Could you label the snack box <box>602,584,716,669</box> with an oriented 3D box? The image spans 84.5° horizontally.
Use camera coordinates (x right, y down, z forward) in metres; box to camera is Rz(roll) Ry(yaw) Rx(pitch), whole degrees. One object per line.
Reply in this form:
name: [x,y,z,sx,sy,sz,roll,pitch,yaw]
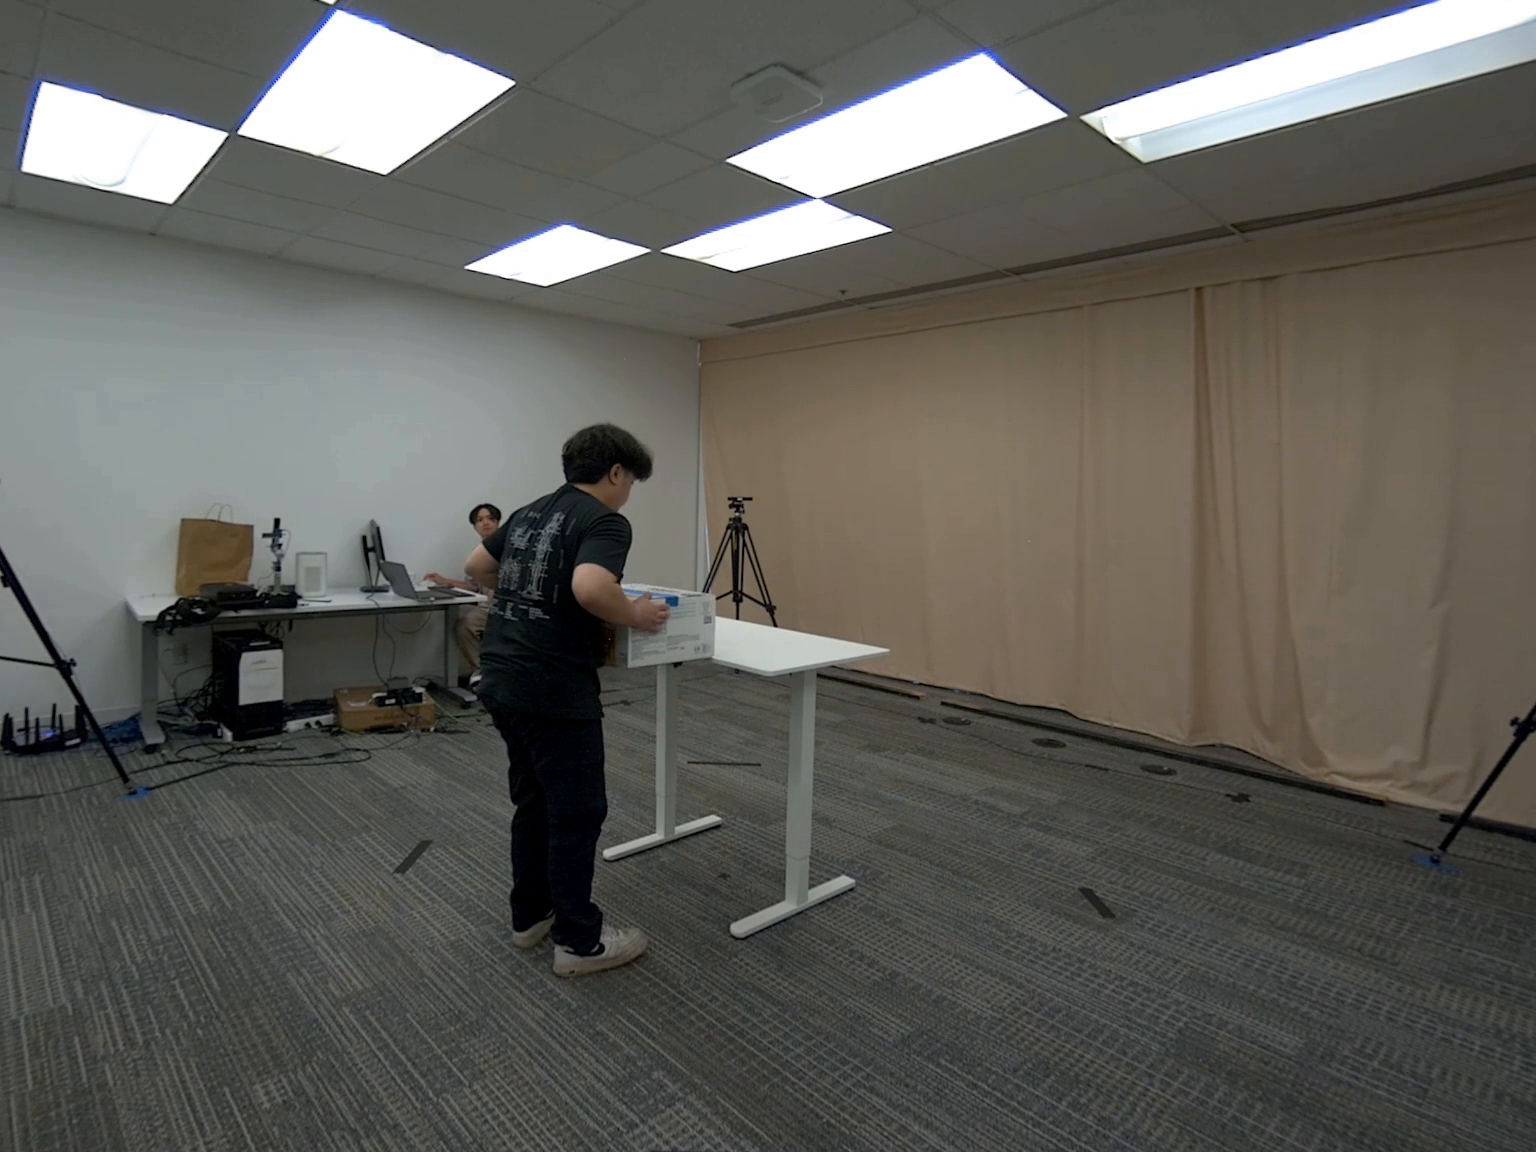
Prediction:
snack box: [-0.432,0.152,2.722,0.332,0.205,0.415,-3,6,-44]
